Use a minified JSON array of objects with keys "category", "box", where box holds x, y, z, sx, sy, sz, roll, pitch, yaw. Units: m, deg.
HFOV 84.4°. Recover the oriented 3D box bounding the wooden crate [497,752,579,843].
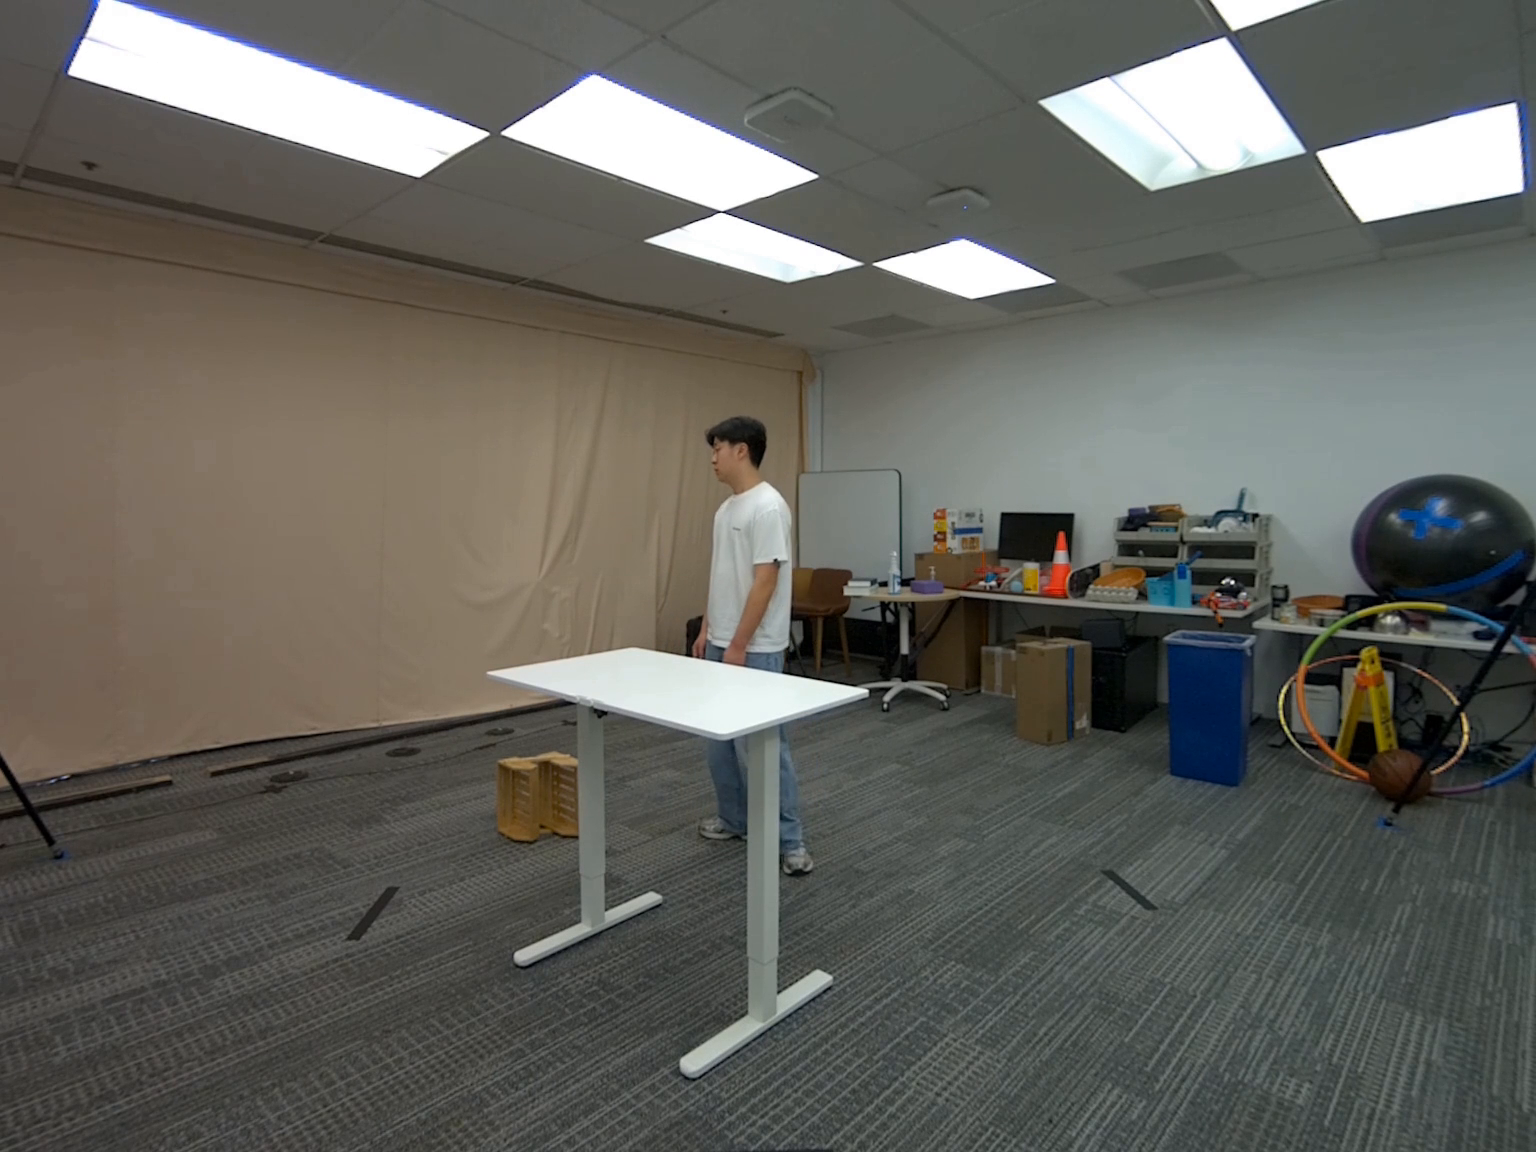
[{"category":"wooden crate","box":[-0.968,0.942,3.585,0.312,0.324,0.265,2,3,44]}]
